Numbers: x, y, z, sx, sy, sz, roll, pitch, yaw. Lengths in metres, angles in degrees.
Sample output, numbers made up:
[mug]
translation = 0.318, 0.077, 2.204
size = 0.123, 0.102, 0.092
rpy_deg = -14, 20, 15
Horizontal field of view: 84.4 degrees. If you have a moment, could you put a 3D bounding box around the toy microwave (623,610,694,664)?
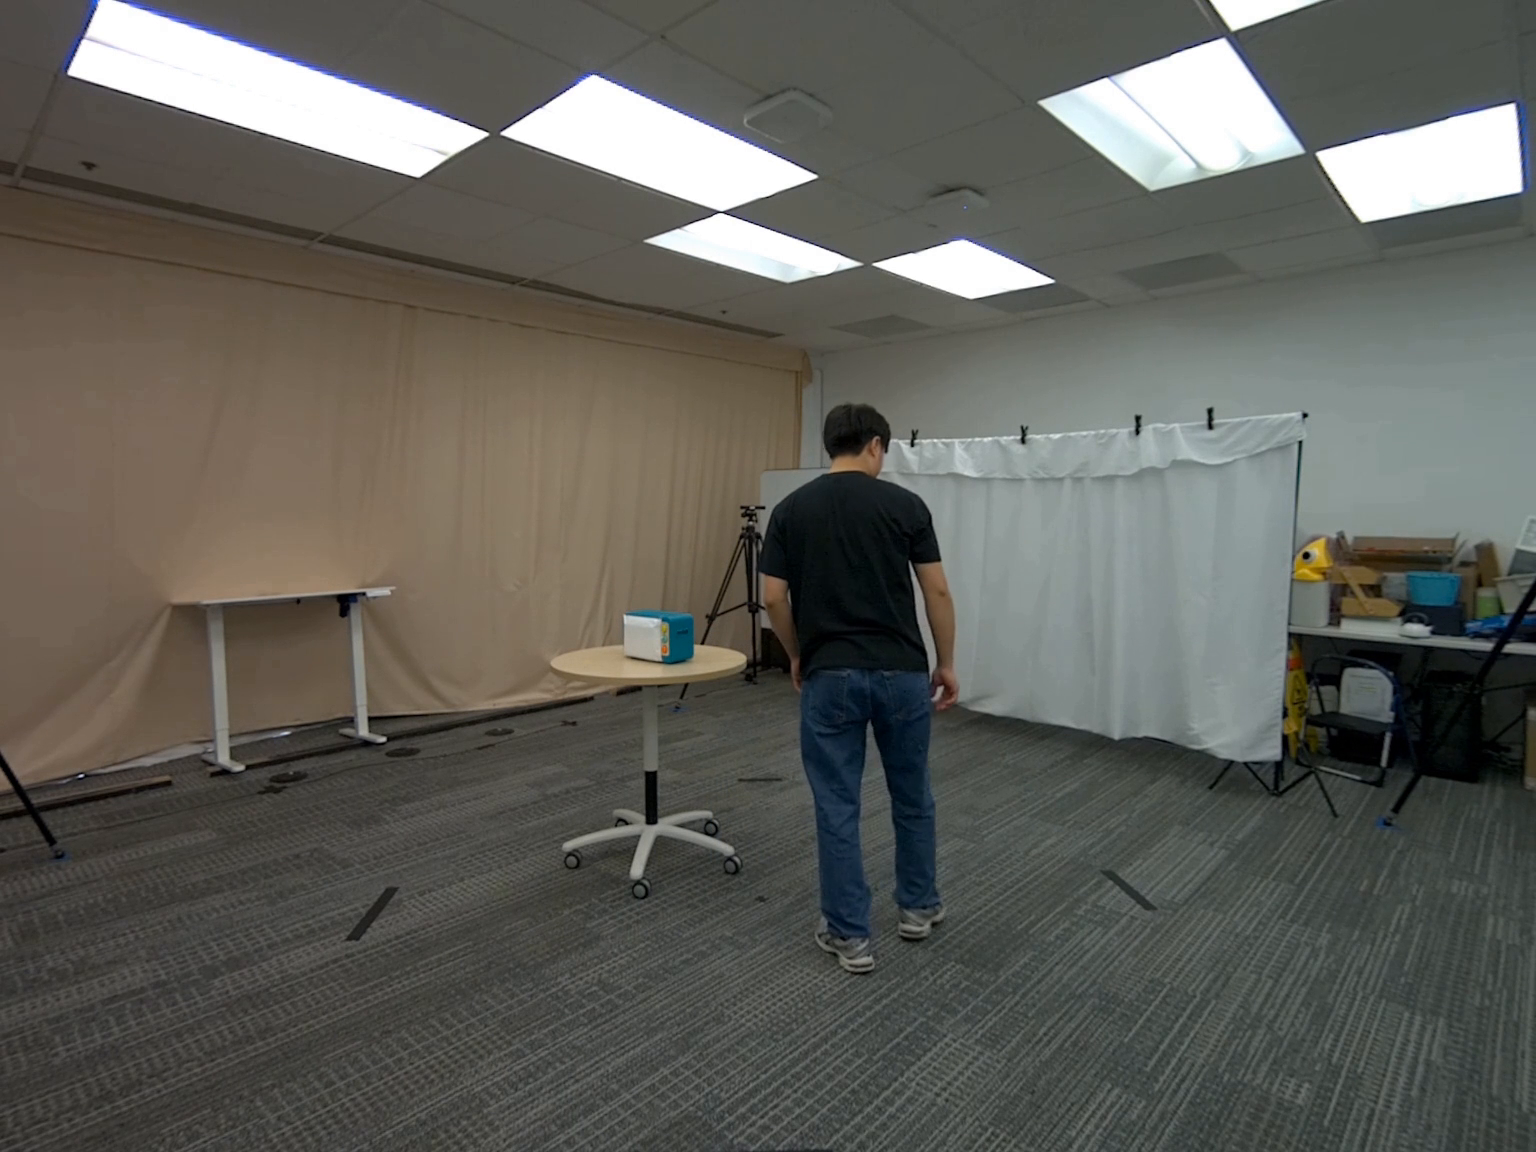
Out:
[toy microwave]
translation = -0.436, 0.234, 3.286
size = 0.295, 0.184, 0.148
rpy_deg = 3, 4, 41
